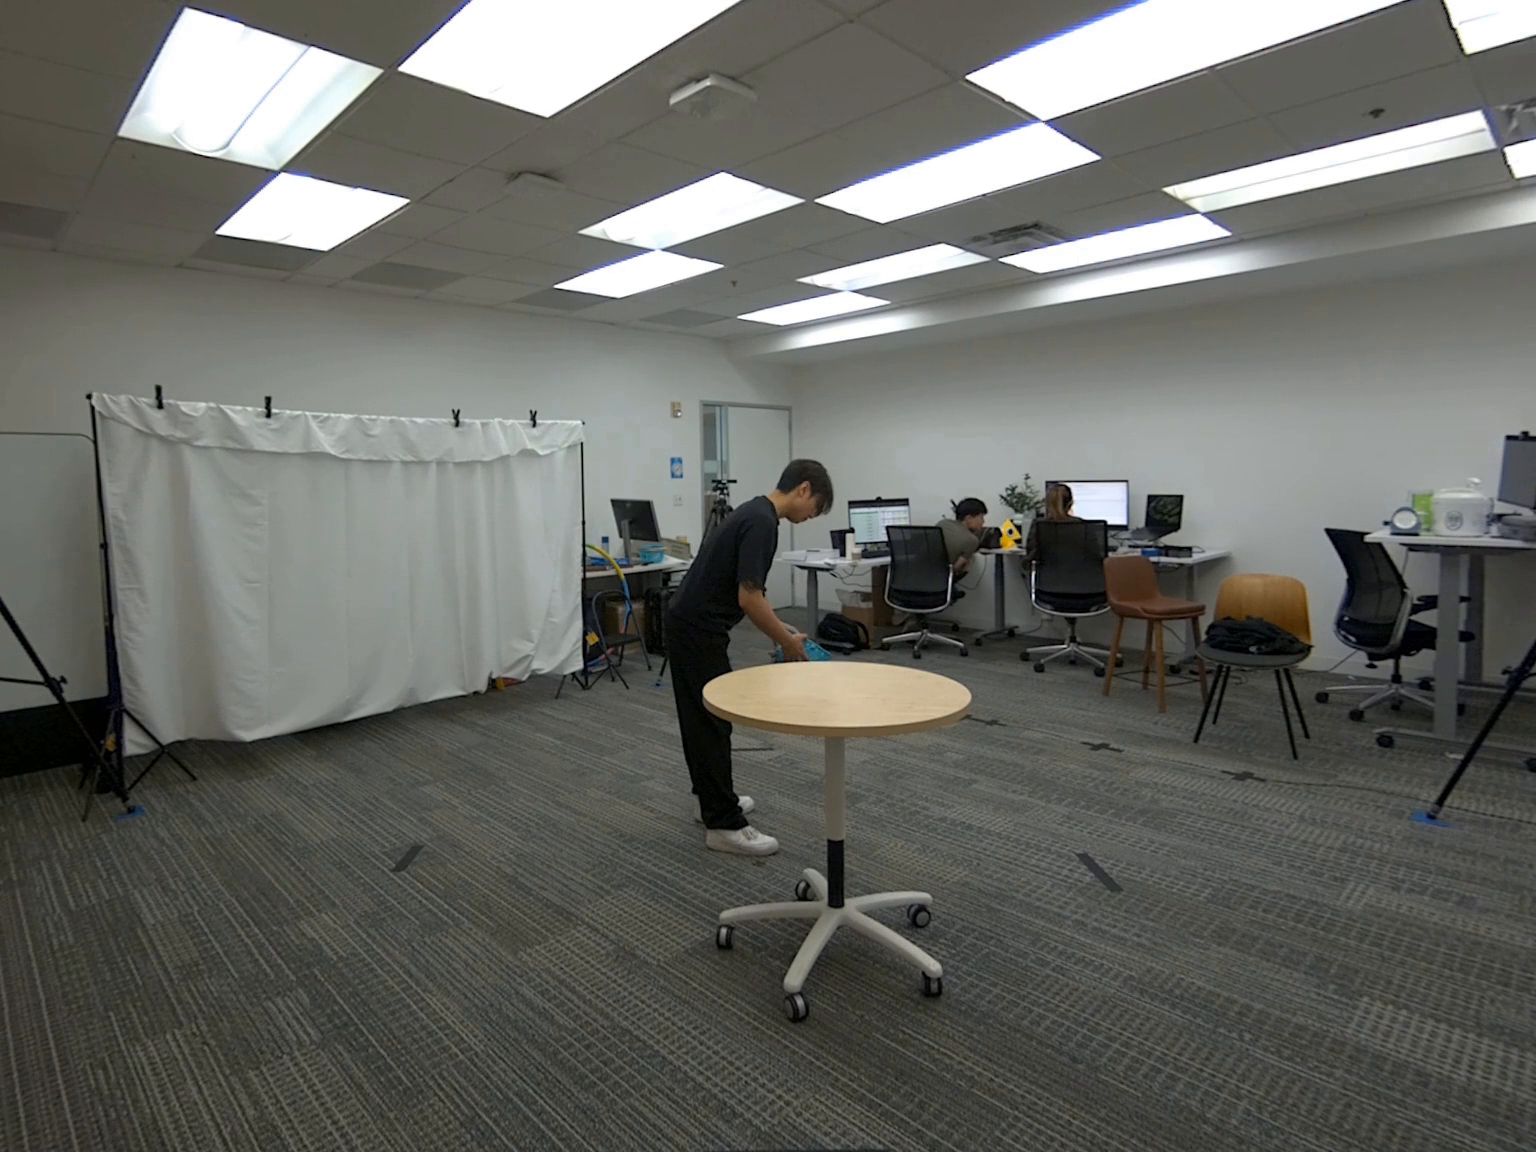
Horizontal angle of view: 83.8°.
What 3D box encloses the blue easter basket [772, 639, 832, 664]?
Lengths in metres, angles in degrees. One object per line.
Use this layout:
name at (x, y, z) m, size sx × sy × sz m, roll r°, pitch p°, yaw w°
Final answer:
blue easter basket at (0.124, 0.323, 3.421) m, size 0.244 × 0.156 × 0.242 m, roll 31°, pitch -5°, yaw 2°
